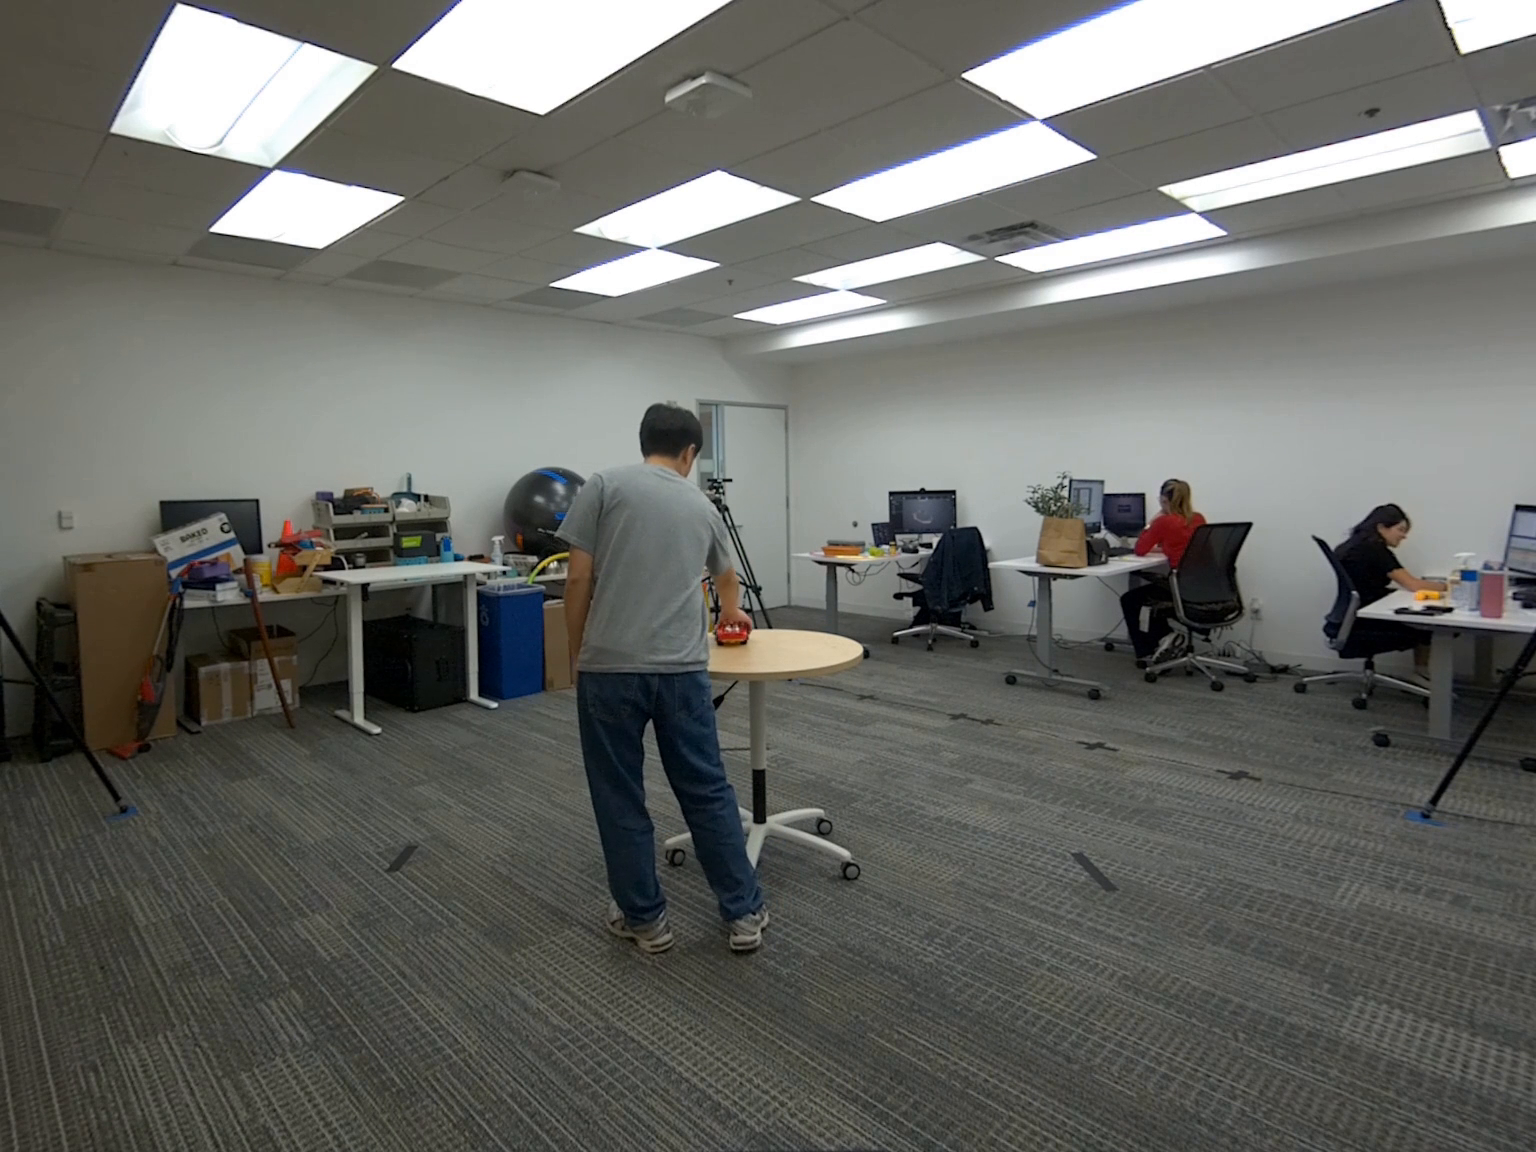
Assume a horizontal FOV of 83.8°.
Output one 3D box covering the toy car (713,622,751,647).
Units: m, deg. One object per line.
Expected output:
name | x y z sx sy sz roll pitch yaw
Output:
toy car | -0.133 0.219 3.220 0.130 0.084 0.254 -3 -6 -4
